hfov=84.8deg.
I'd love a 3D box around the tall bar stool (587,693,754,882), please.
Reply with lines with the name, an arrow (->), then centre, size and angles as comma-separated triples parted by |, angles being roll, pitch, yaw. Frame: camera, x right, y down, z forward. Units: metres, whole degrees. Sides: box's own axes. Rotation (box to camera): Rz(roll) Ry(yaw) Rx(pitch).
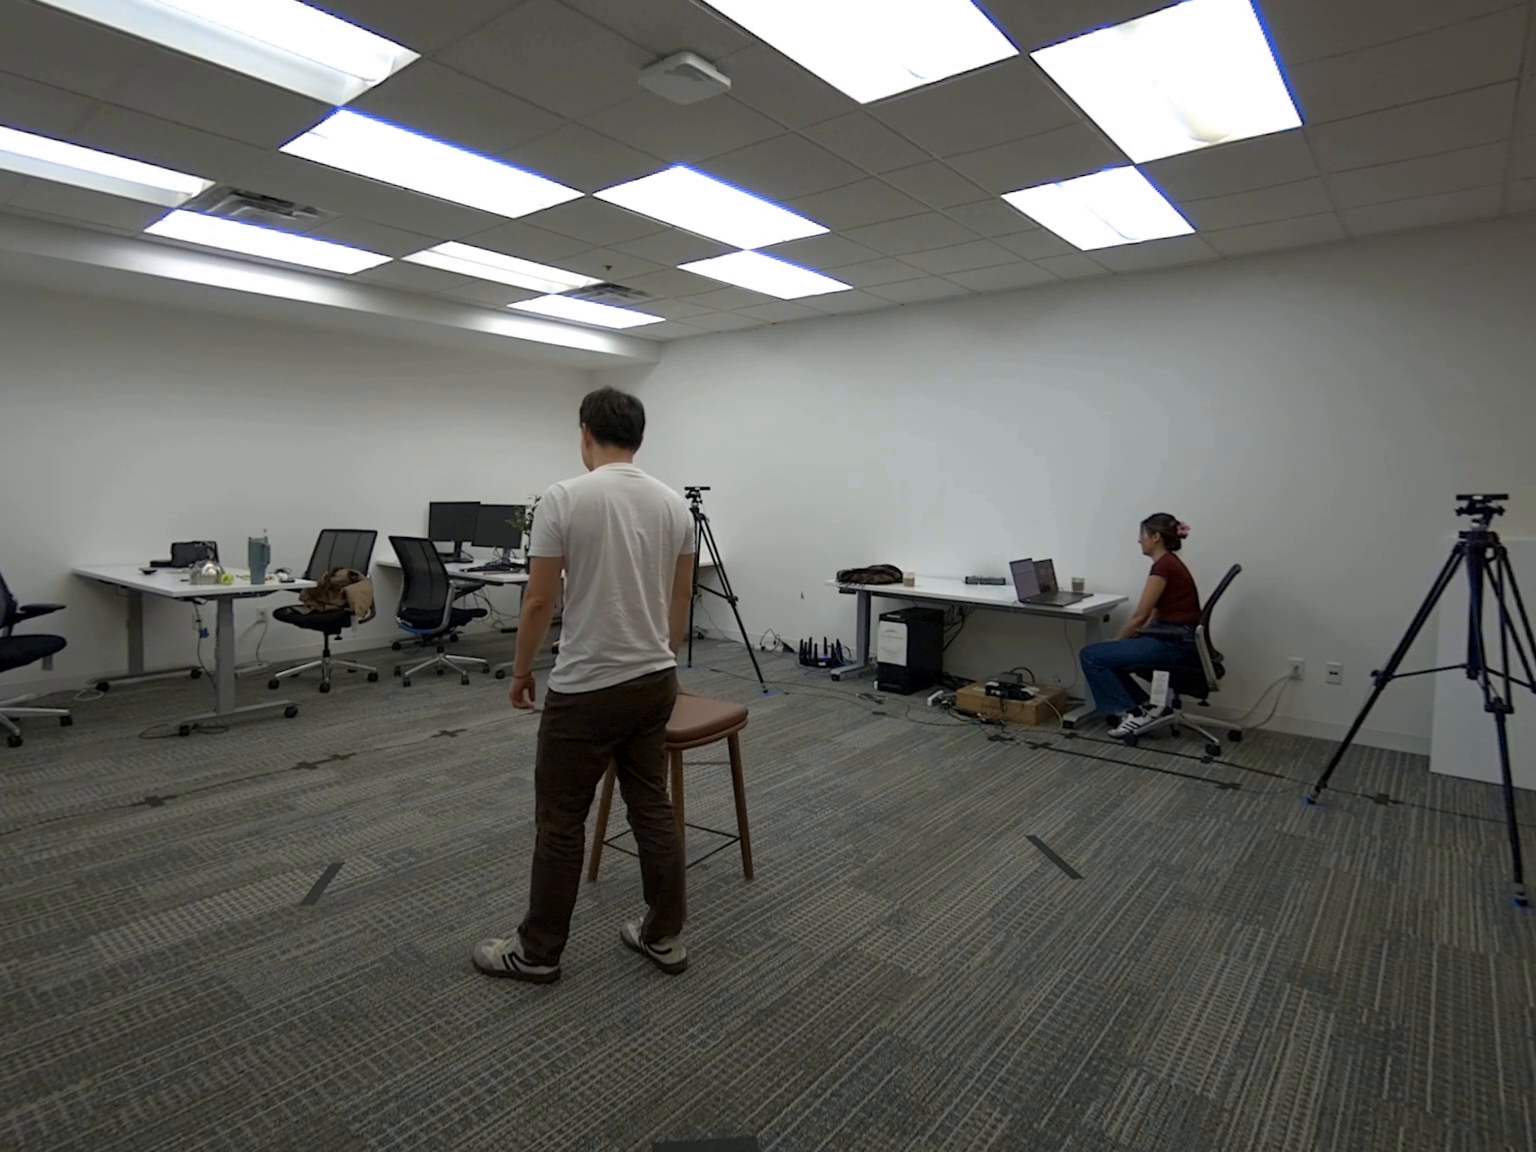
tall bar stool -> -0.353, 0.638, 2.992 | 0.482, 0.889, 0.443 | 0, 2, 35
